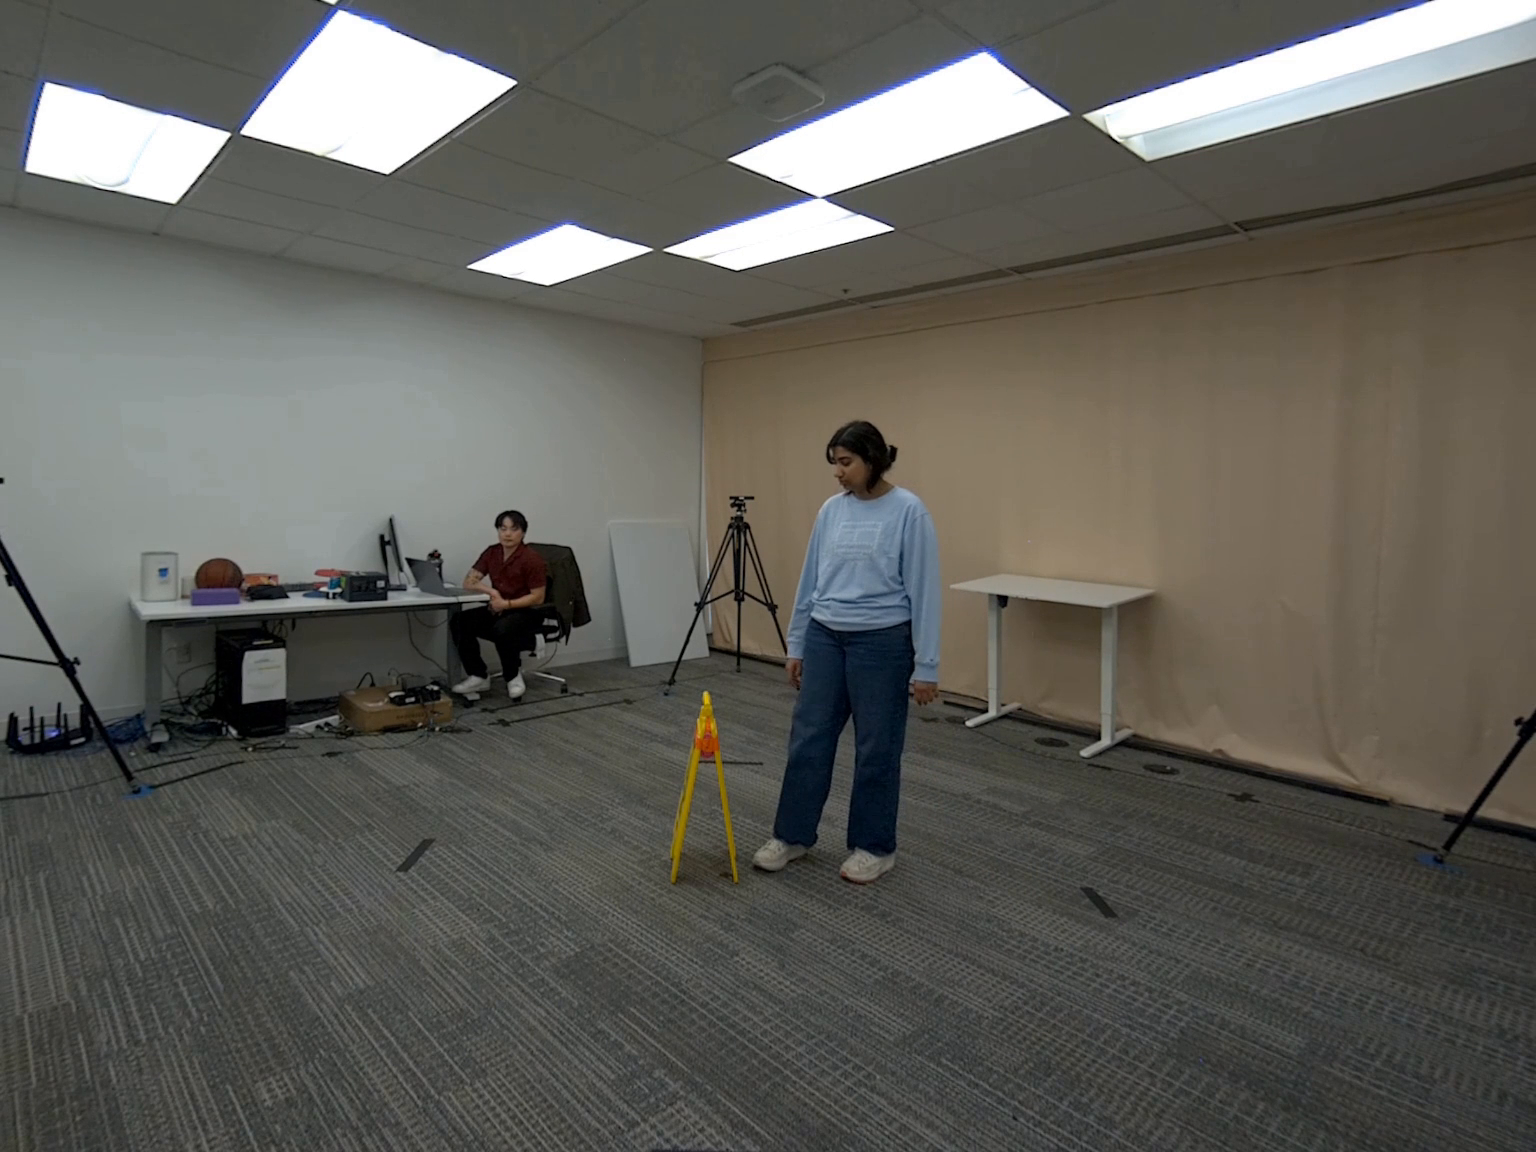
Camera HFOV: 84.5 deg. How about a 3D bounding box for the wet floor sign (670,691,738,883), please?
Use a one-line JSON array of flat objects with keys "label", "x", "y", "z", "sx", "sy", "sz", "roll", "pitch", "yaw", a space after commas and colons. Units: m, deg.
[{"label": "wet floor sign", "x": -0.241, "y": 0.773, "z": 3.155, "sx": 0.289, "sy": 0.645, "sz": 0.283, "roll": 0, "pitch": 2, "yaw": -4}]
